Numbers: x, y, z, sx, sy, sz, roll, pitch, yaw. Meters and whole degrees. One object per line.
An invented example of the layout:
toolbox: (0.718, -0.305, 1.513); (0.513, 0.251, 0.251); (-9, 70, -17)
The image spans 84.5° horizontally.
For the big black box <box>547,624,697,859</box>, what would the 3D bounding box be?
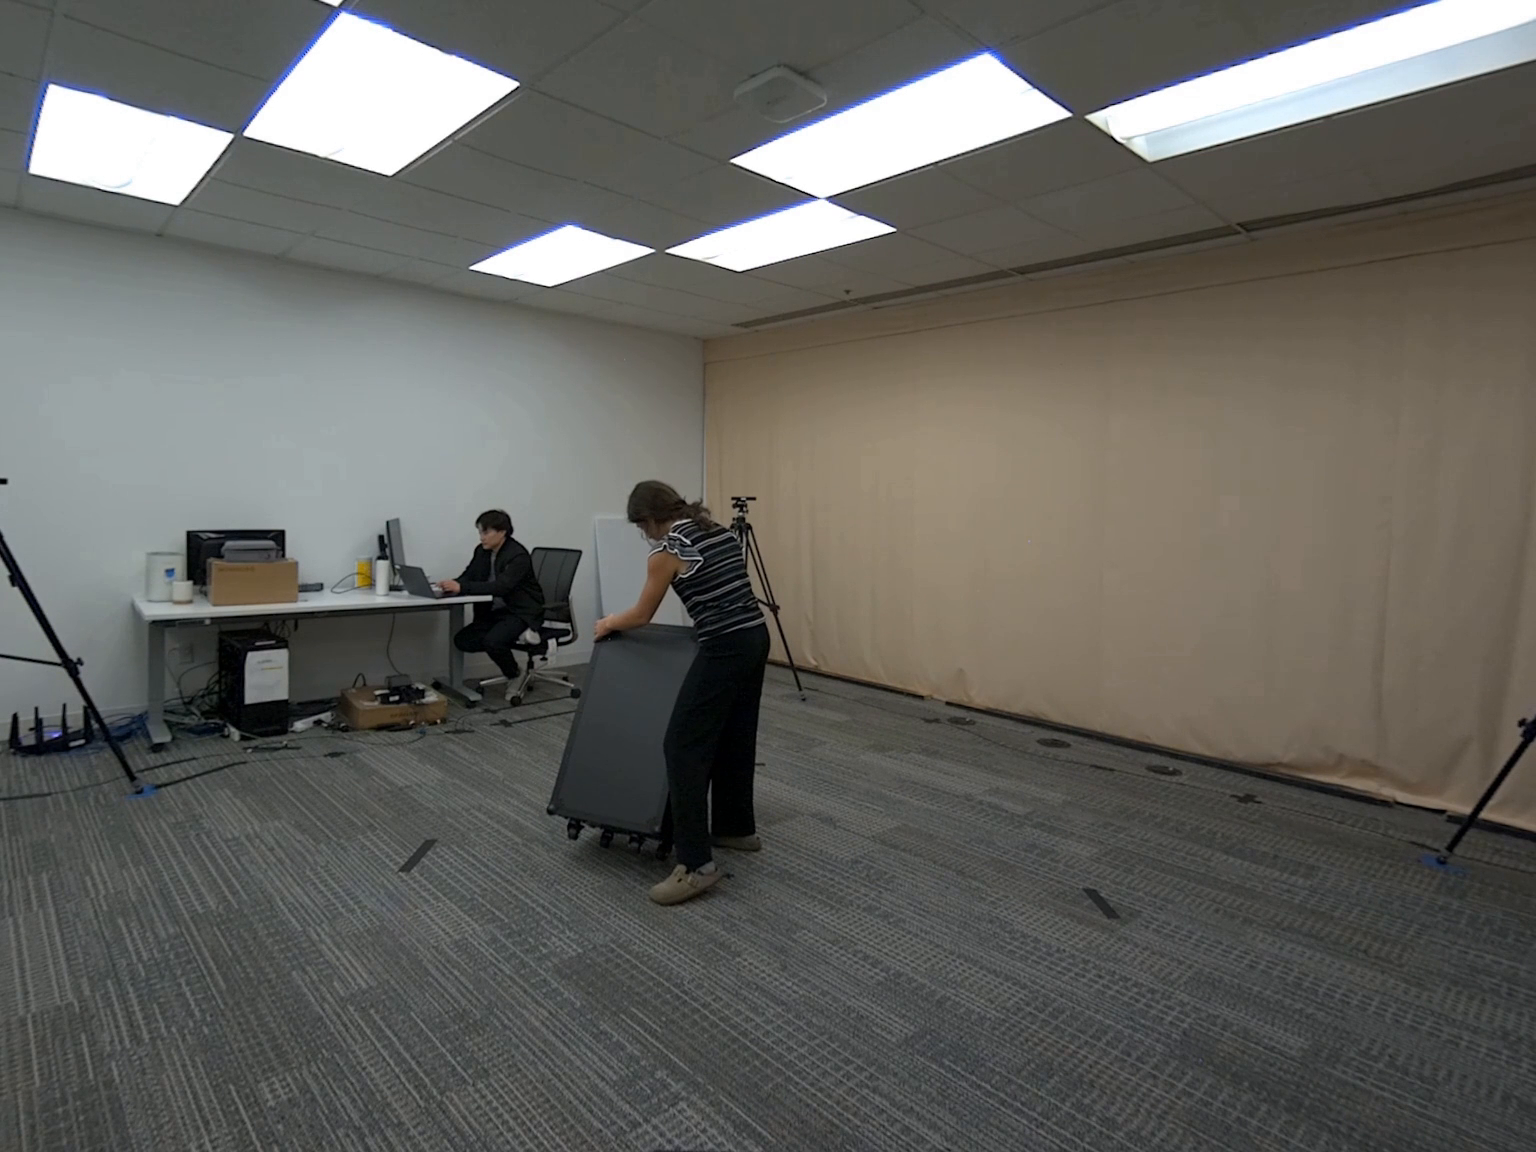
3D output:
big black box: (-0.494, 0.650, 3.357); (0.530, 0.871, 0.385); (3, -25, 21)
